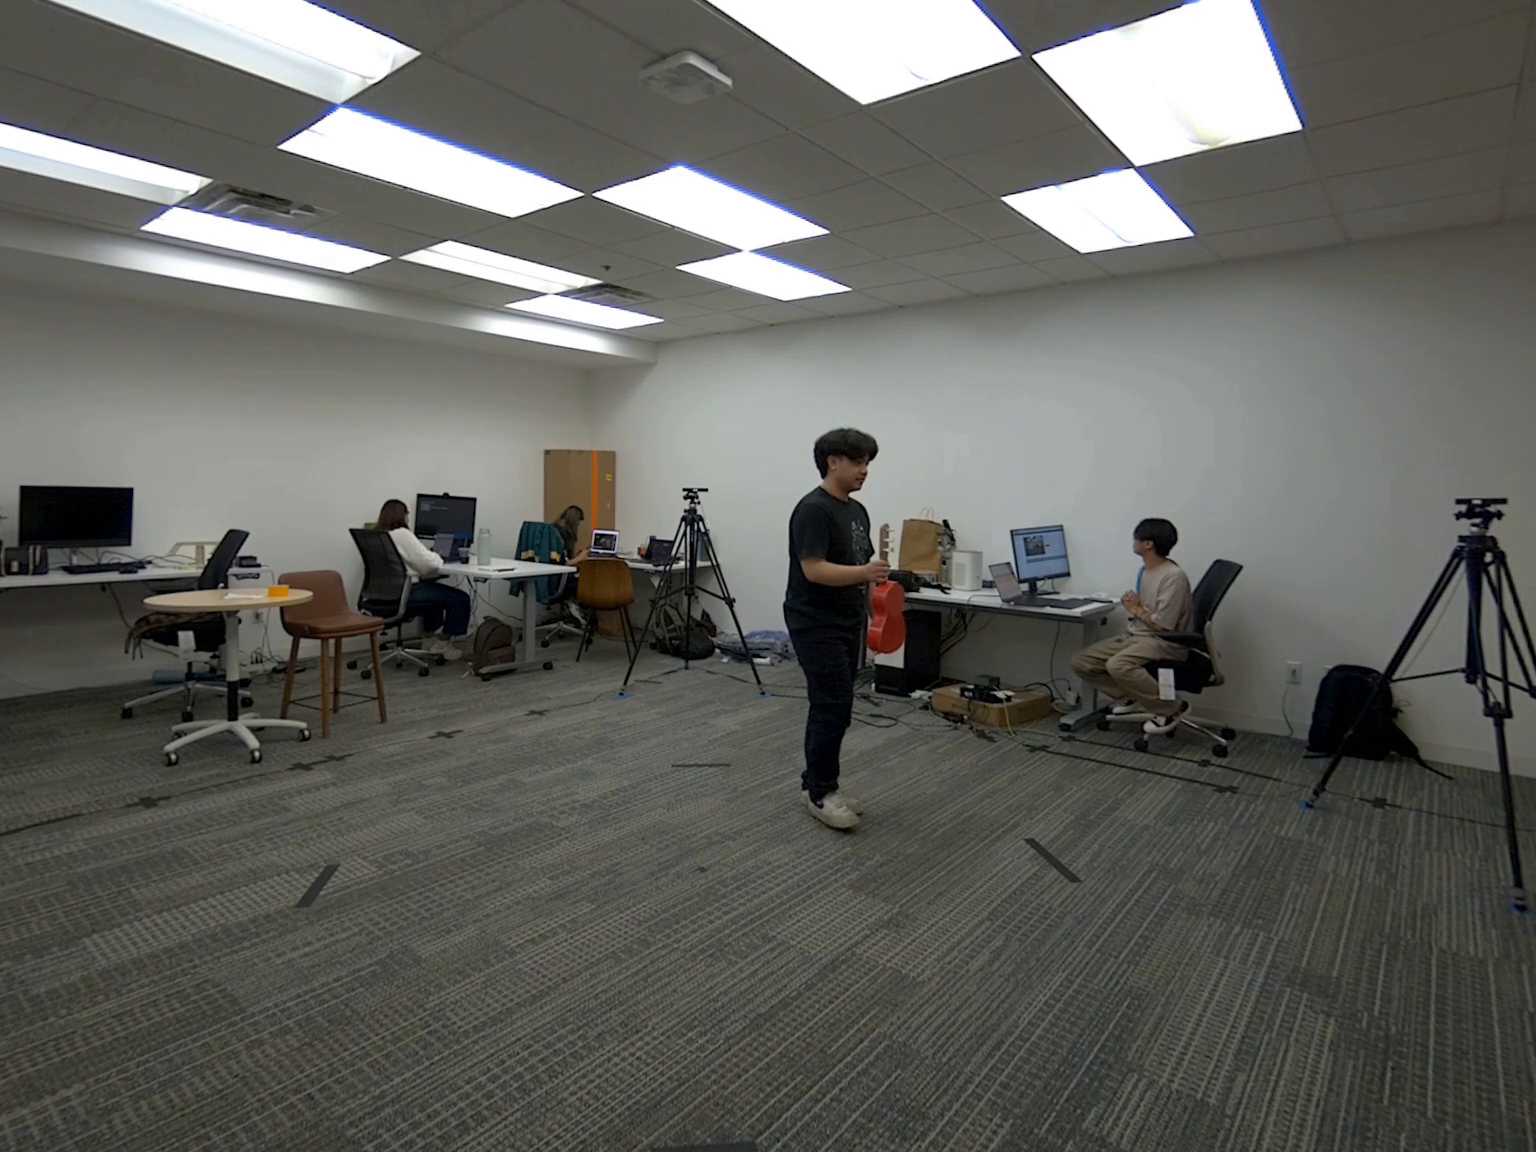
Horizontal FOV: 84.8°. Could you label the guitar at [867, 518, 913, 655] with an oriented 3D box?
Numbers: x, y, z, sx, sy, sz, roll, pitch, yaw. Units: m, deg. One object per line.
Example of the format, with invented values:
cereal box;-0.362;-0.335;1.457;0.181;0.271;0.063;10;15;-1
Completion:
guitar;0.442;0.051;3.281;0.073;0.492;0.189;5;15;40
